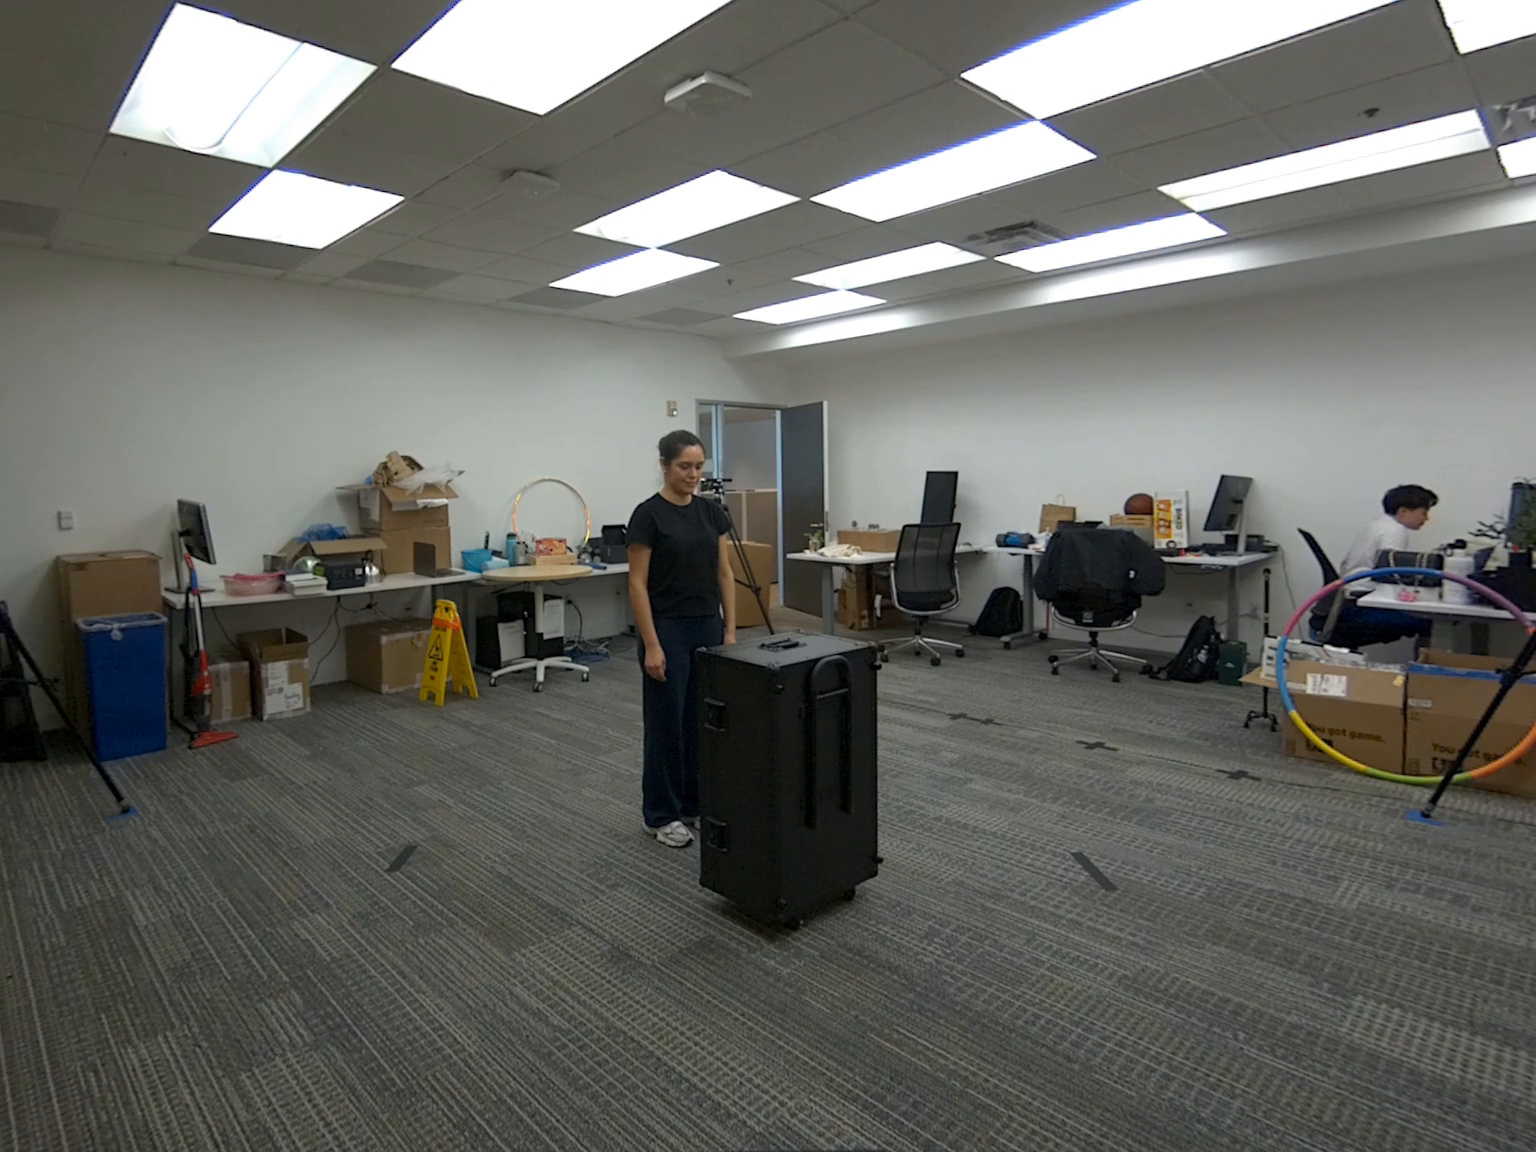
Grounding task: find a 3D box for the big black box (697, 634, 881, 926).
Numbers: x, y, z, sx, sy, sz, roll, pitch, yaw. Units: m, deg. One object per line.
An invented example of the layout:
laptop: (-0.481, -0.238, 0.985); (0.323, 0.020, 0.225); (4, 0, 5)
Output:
big black box: (0.080, 0.653, 2.806); (0.507, 0.857, 0.409); (-5, 7, -43)
